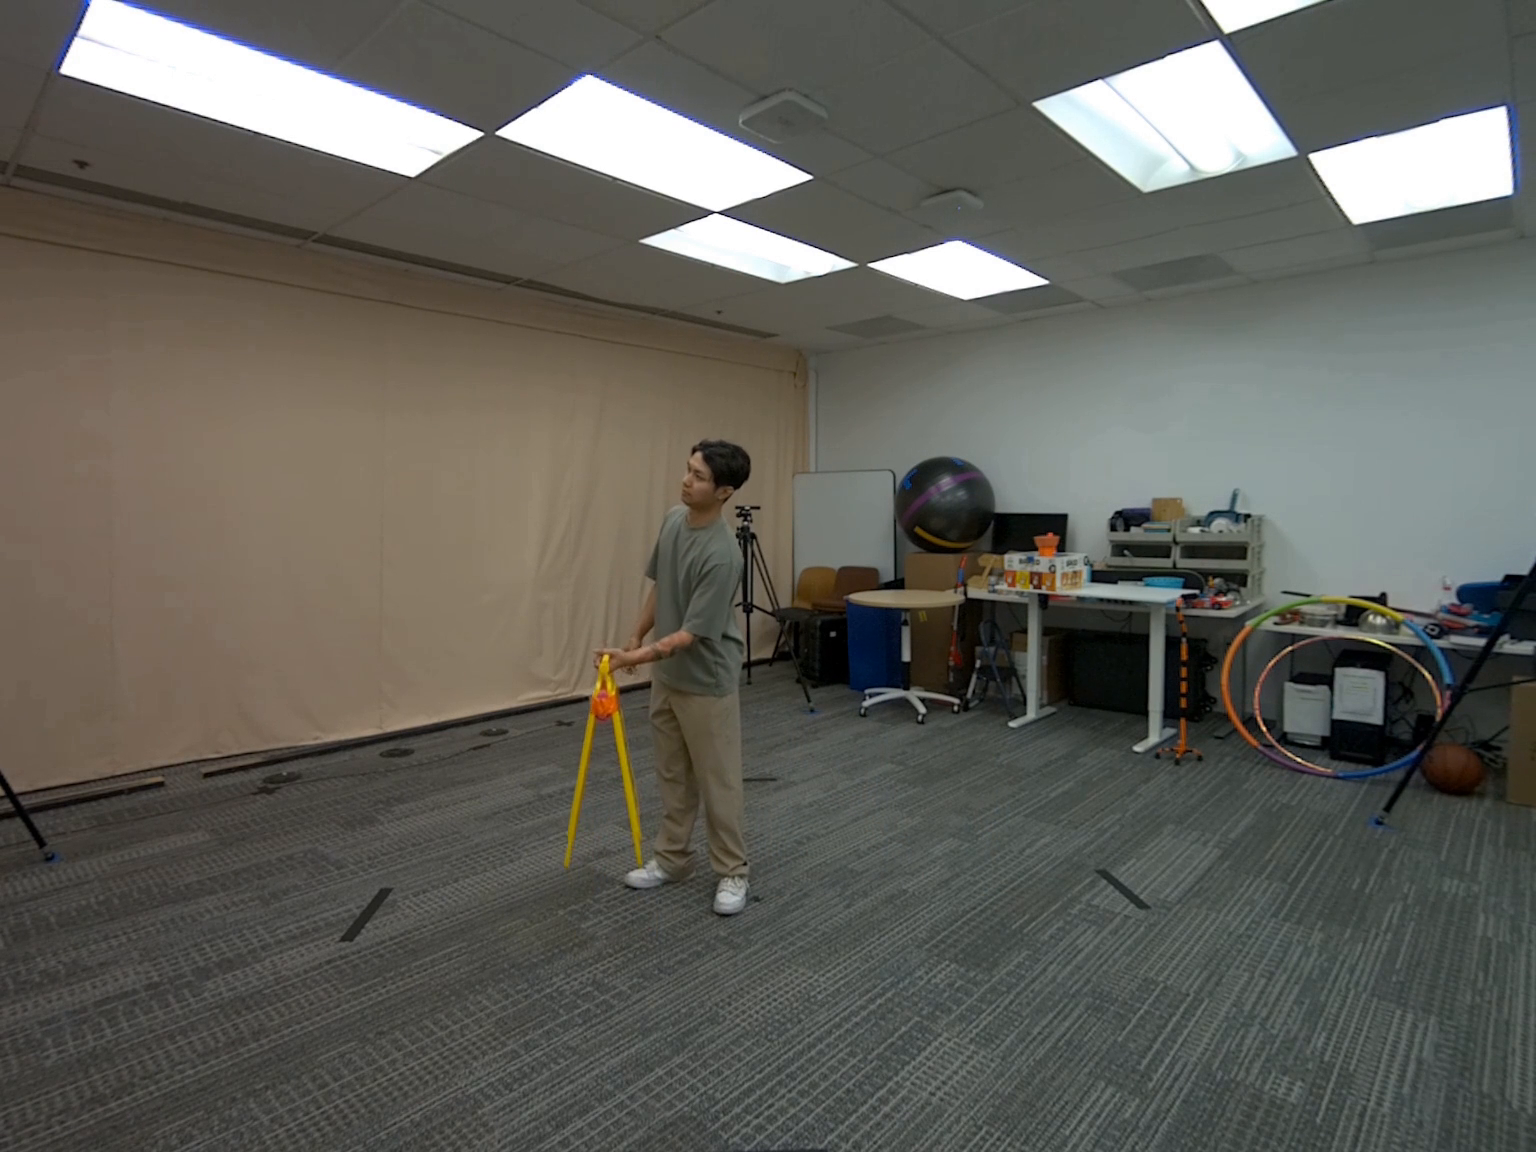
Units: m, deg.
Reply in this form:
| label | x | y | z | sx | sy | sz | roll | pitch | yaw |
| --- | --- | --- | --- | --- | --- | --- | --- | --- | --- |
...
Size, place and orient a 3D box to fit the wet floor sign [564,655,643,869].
| label | x | y | z | sx | sy | sz | roll | pitch | yaw |
| --- | --- | --- | --- | --- | --- | --- | --- | --- | --- |
| wet floor sign | -0.526 | 0.583 | 2.751 | 0.287 | 0.645 | 0.285 | 1 | 1 | -8 |
